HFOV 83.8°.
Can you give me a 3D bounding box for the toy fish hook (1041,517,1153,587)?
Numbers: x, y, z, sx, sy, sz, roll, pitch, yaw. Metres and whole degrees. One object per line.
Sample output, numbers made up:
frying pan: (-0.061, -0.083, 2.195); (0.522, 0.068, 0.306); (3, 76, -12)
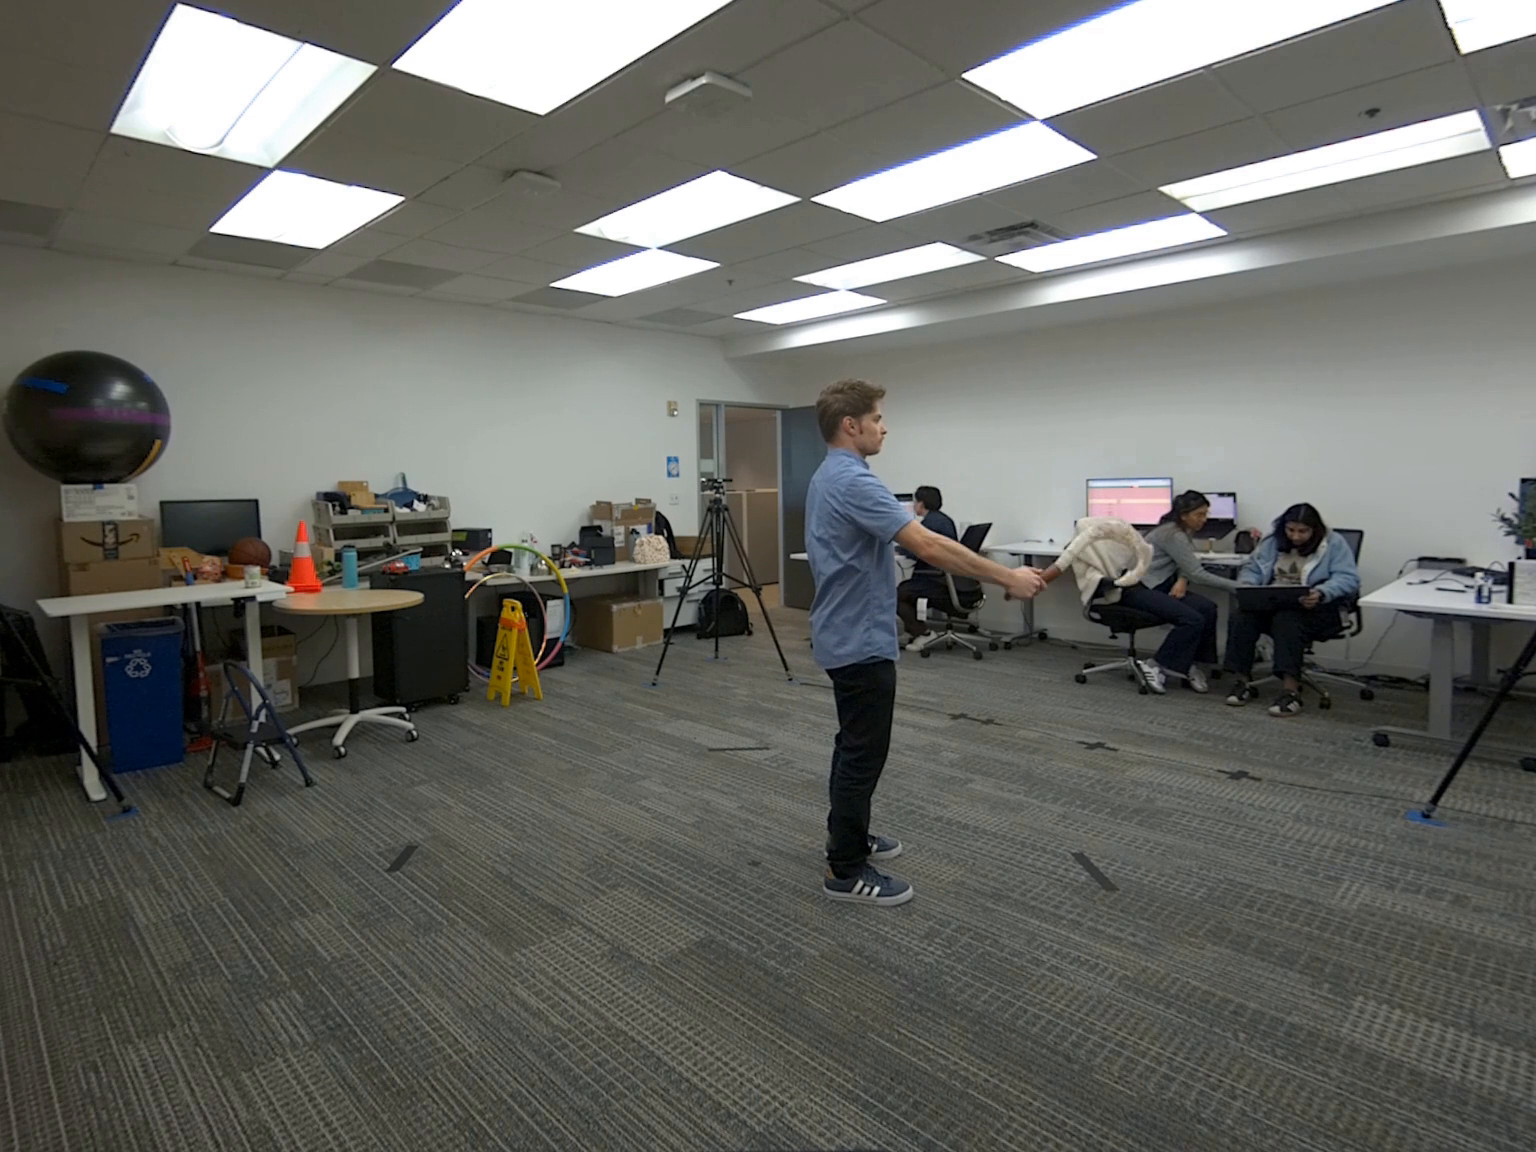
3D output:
toy fish hook: (0.952, -0.010, 2.636); (0.504, 0.233, 0.047); (-29, -33, -13)
